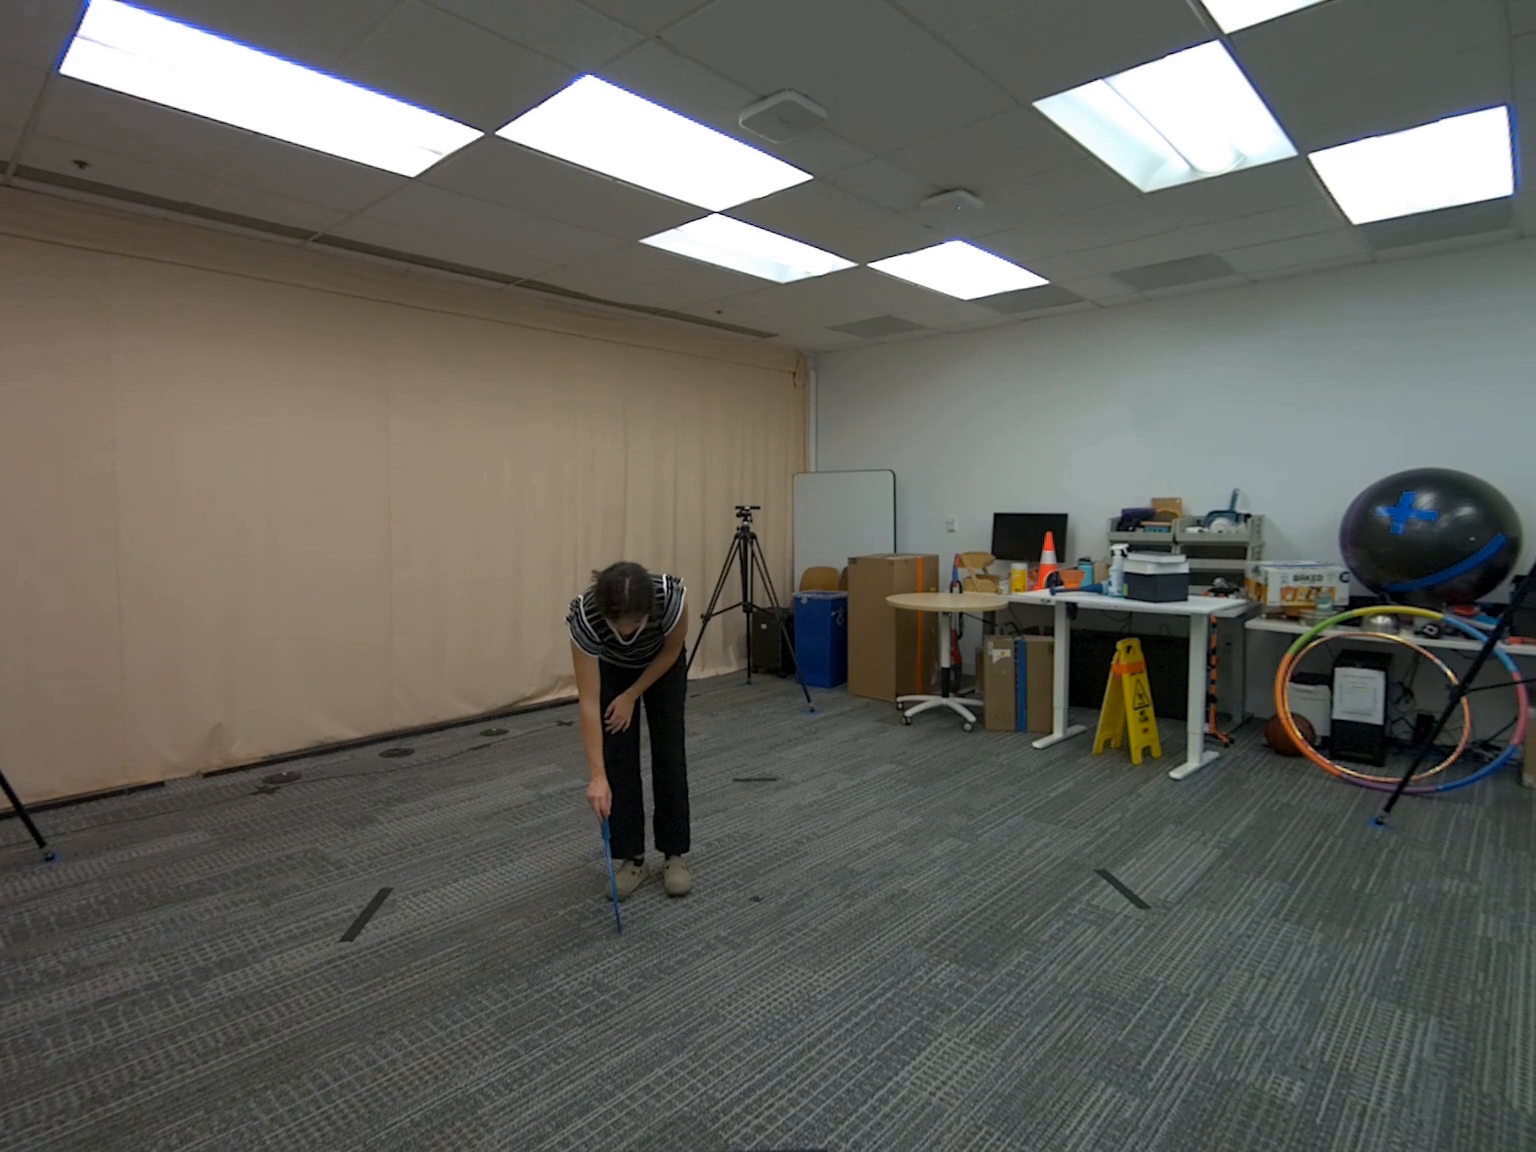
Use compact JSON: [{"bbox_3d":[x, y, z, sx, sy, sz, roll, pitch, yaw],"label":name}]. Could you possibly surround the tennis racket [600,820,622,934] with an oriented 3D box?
[{"bbox_3d":[-0.517,0.949,2.757,0.031,0.432,0.215,-7,4,-6],"label":"tennis racket"}]
